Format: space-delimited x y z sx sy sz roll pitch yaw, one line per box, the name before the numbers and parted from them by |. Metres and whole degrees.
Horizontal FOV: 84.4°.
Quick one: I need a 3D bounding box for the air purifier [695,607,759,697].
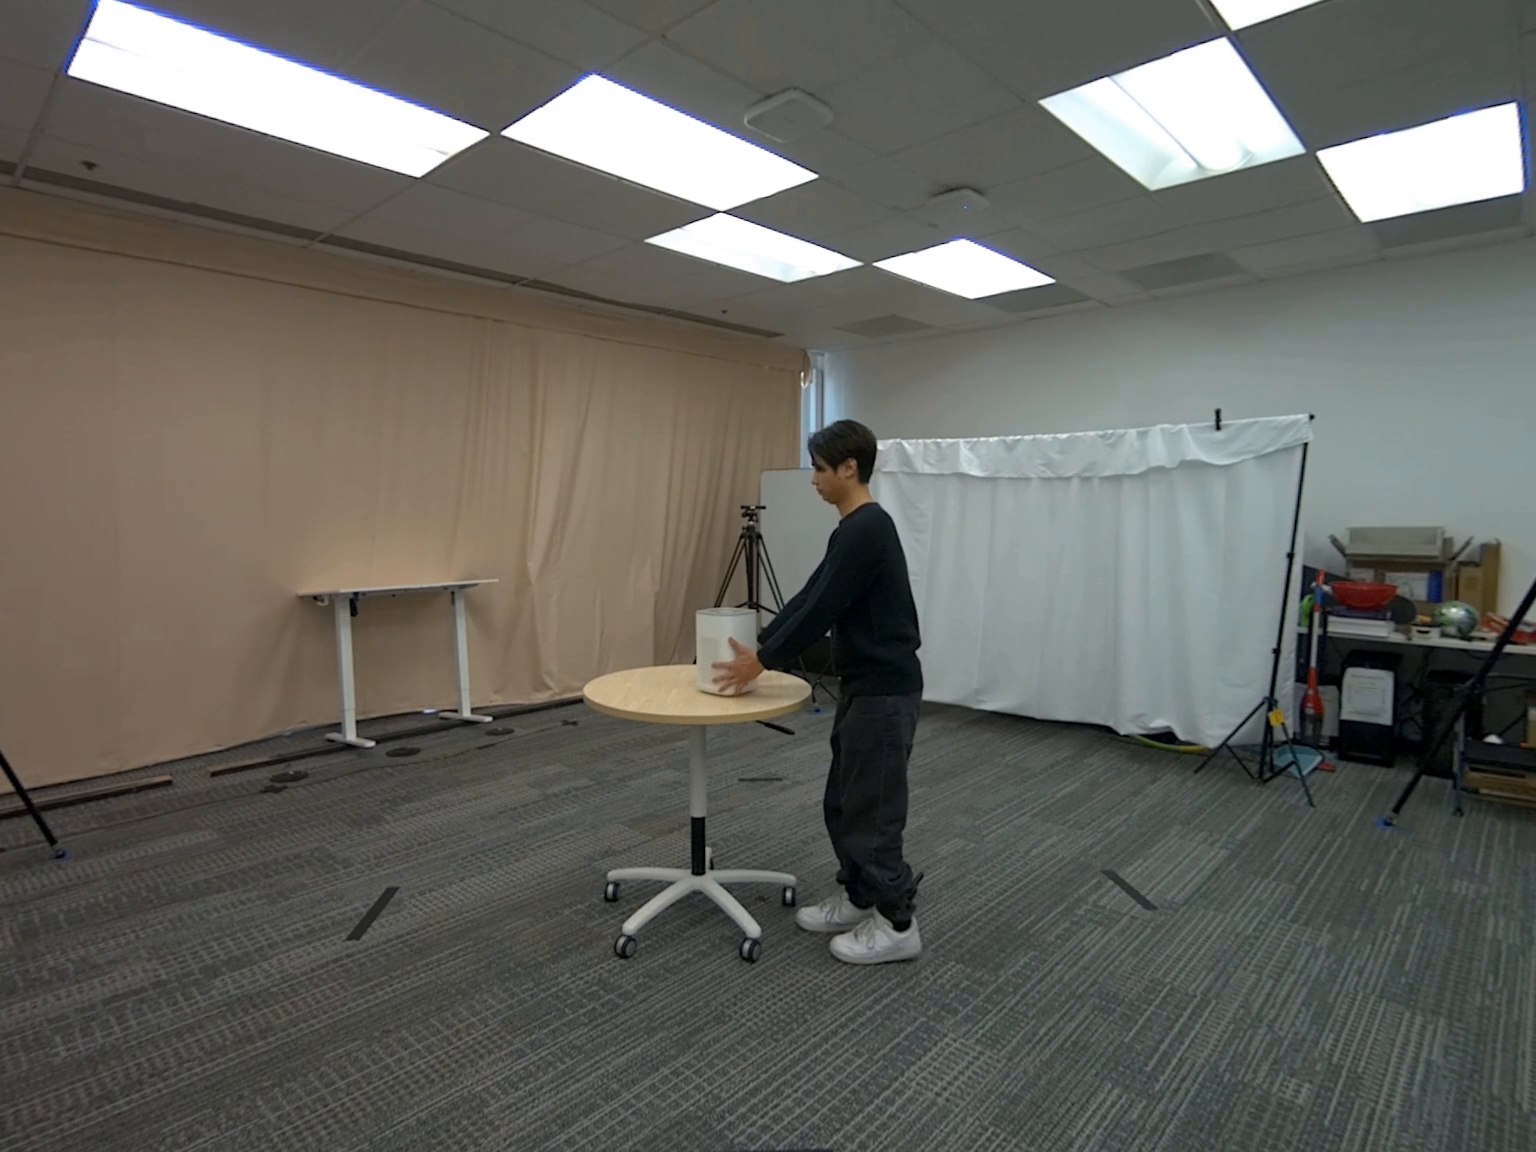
air purifier | -0.129 0.247 2.766 0.177 0.265 0.166 2 4 38
